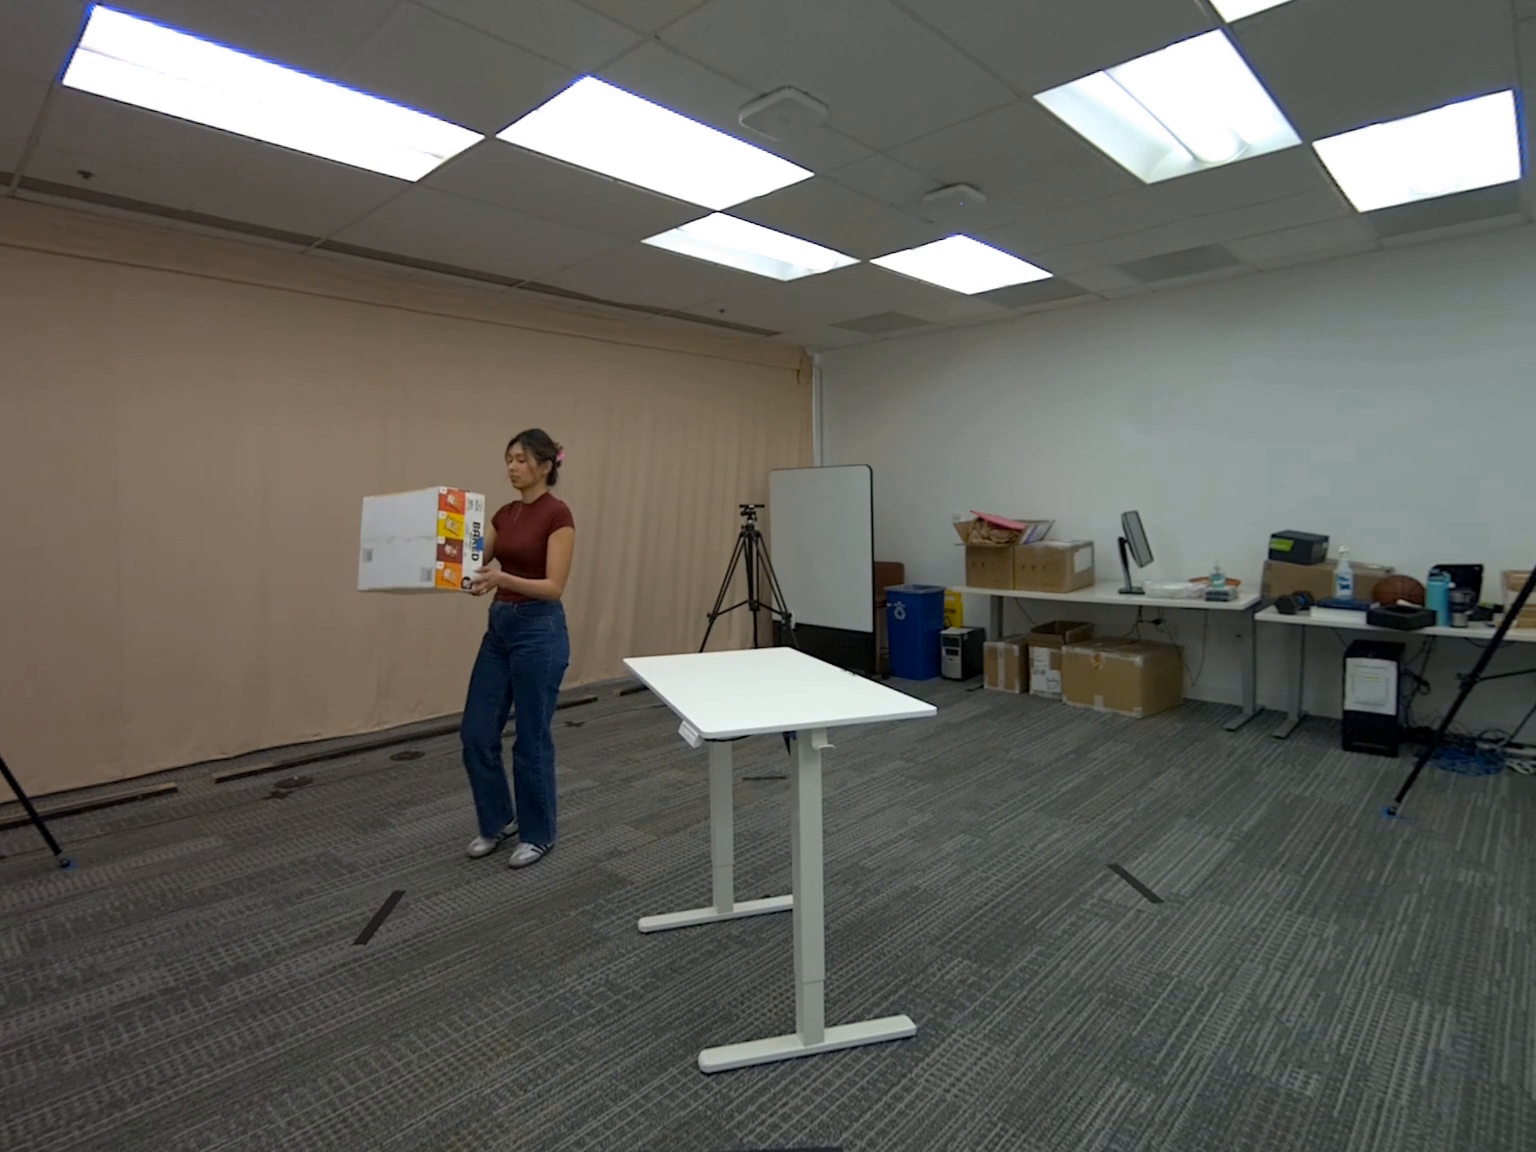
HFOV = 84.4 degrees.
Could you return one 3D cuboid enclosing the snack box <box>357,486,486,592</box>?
[{"bbox_3d":[-1.209,-0.112,2.949,0.416,0.342,0.199,-4,-8,30],"label":"snack box"}]
